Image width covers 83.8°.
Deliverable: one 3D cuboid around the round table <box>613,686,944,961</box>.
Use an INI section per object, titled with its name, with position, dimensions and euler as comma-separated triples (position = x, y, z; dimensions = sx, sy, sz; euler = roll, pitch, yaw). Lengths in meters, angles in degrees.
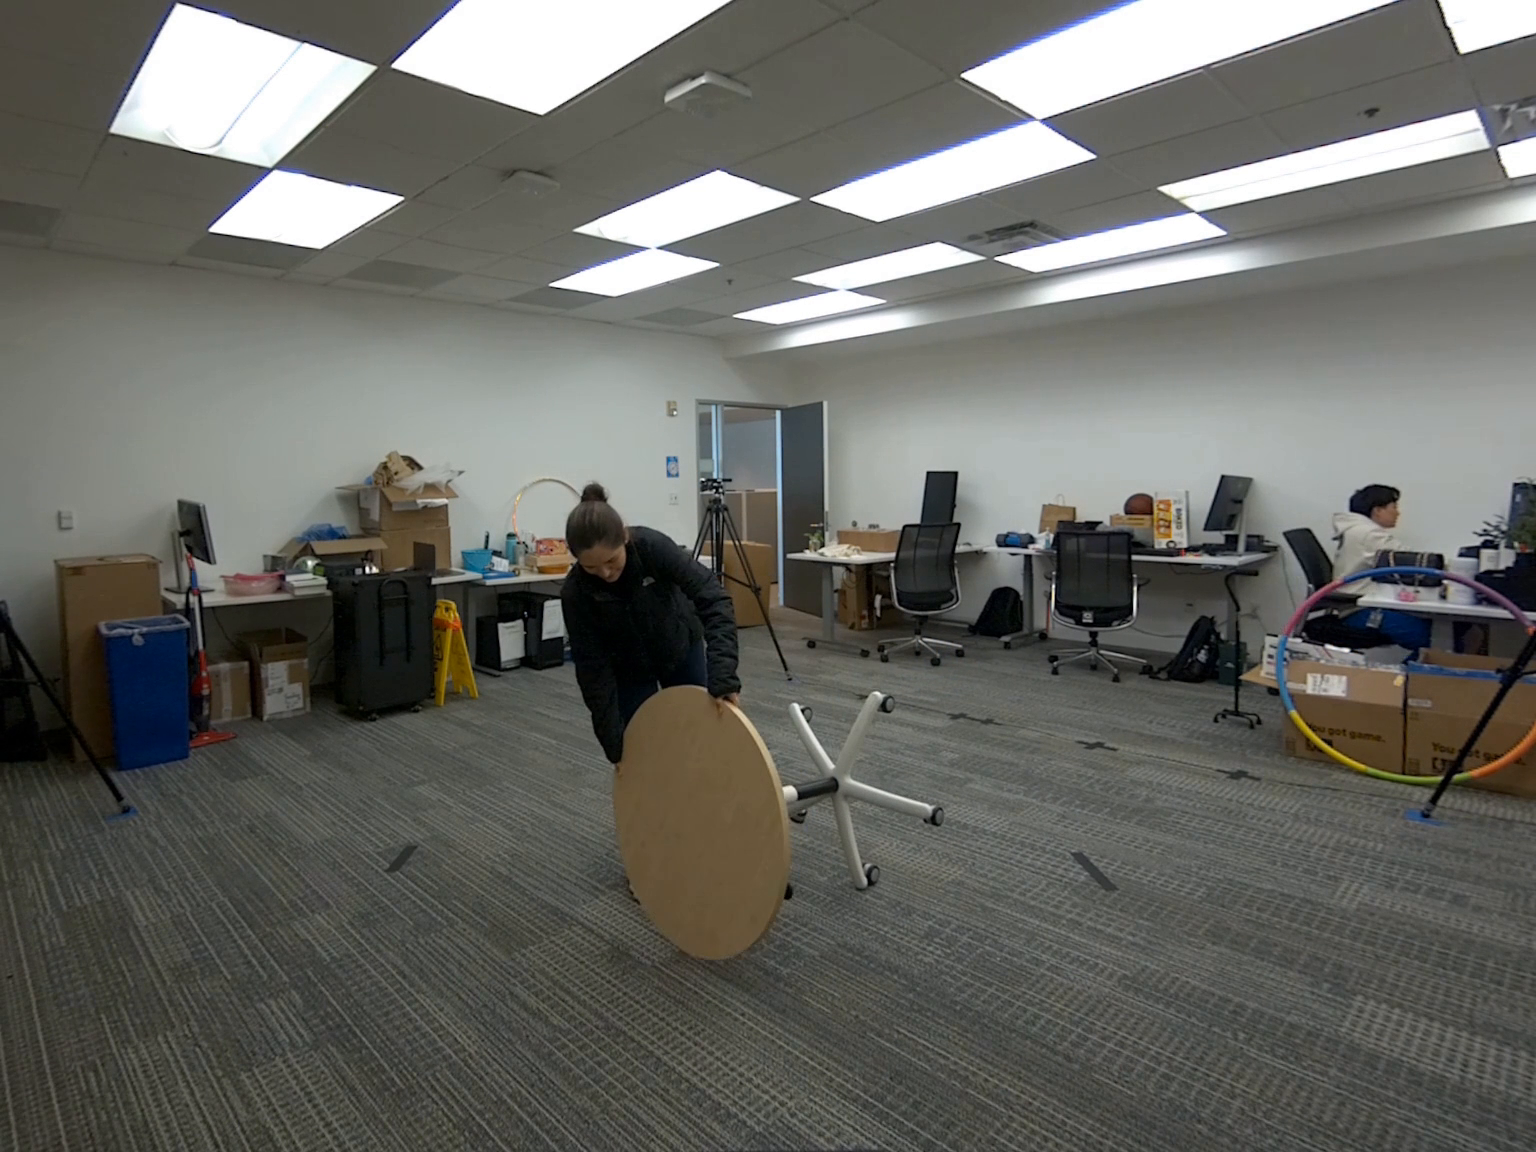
[round table]
position = 0.045, 0.704, 2.774
dimensions = 0.763, 0.784, 0.809
euler = 1, 2, -44
